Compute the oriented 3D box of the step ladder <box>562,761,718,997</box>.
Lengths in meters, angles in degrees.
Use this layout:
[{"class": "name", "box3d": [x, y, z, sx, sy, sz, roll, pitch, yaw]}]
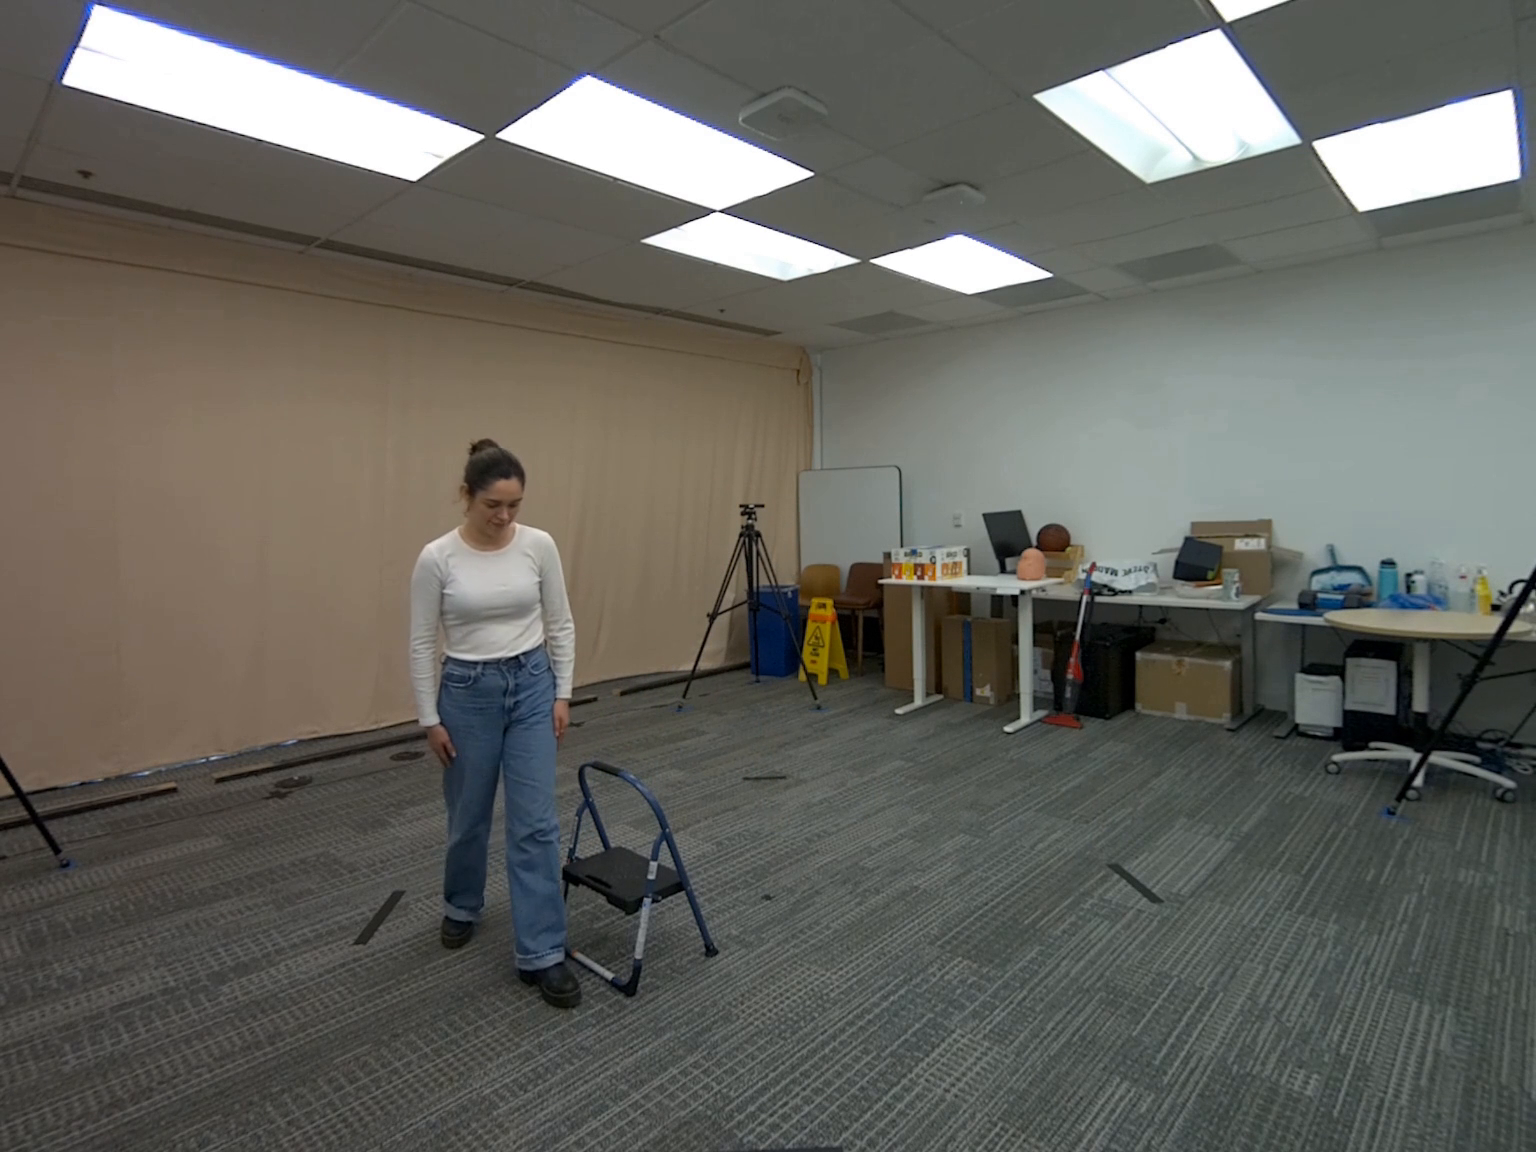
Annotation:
[{"class": "step ladder", "box3d": [-0.431, 0.881, 2.630, 0.445, 0.605, 0.339, 2, 4, 43]}]
